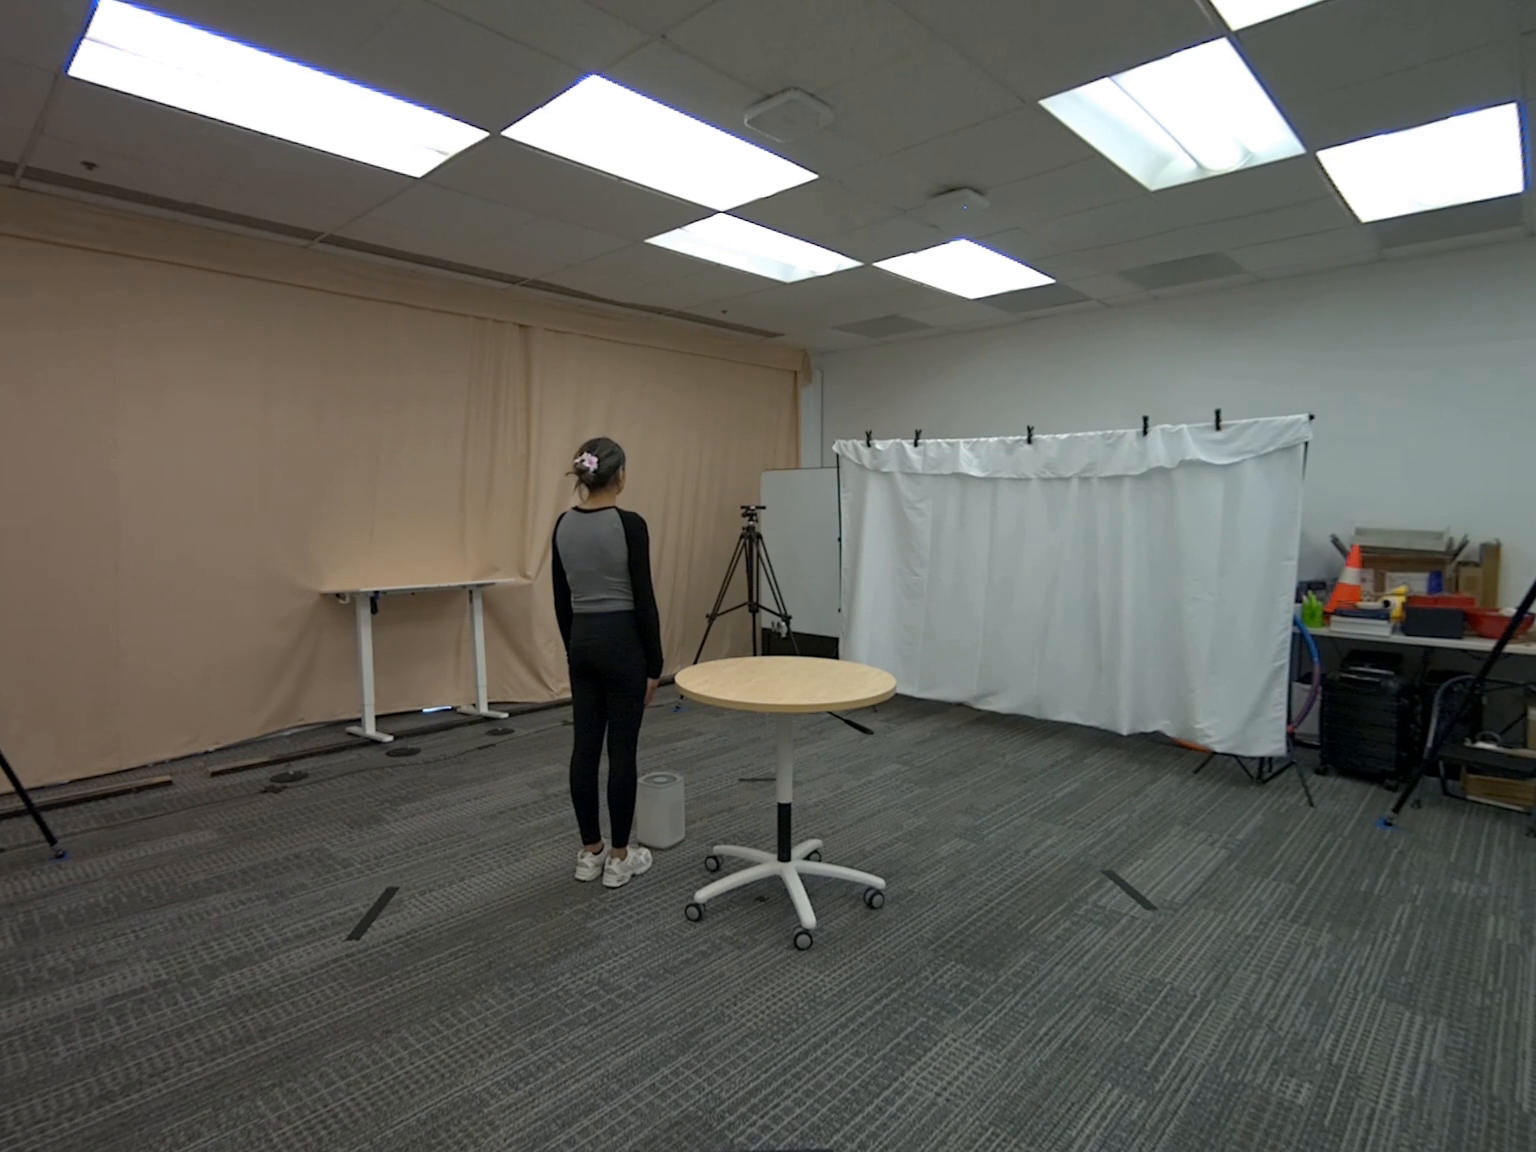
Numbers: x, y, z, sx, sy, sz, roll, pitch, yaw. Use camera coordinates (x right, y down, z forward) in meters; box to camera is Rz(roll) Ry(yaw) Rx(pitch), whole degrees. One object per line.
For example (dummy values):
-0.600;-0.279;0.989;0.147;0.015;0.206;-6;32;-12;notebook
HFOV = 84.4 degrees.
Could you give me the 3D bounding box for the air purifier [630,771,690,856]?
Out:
-0.448;0.971;3.489;0.176;0.265;0.167;2;4;33;air purifier
